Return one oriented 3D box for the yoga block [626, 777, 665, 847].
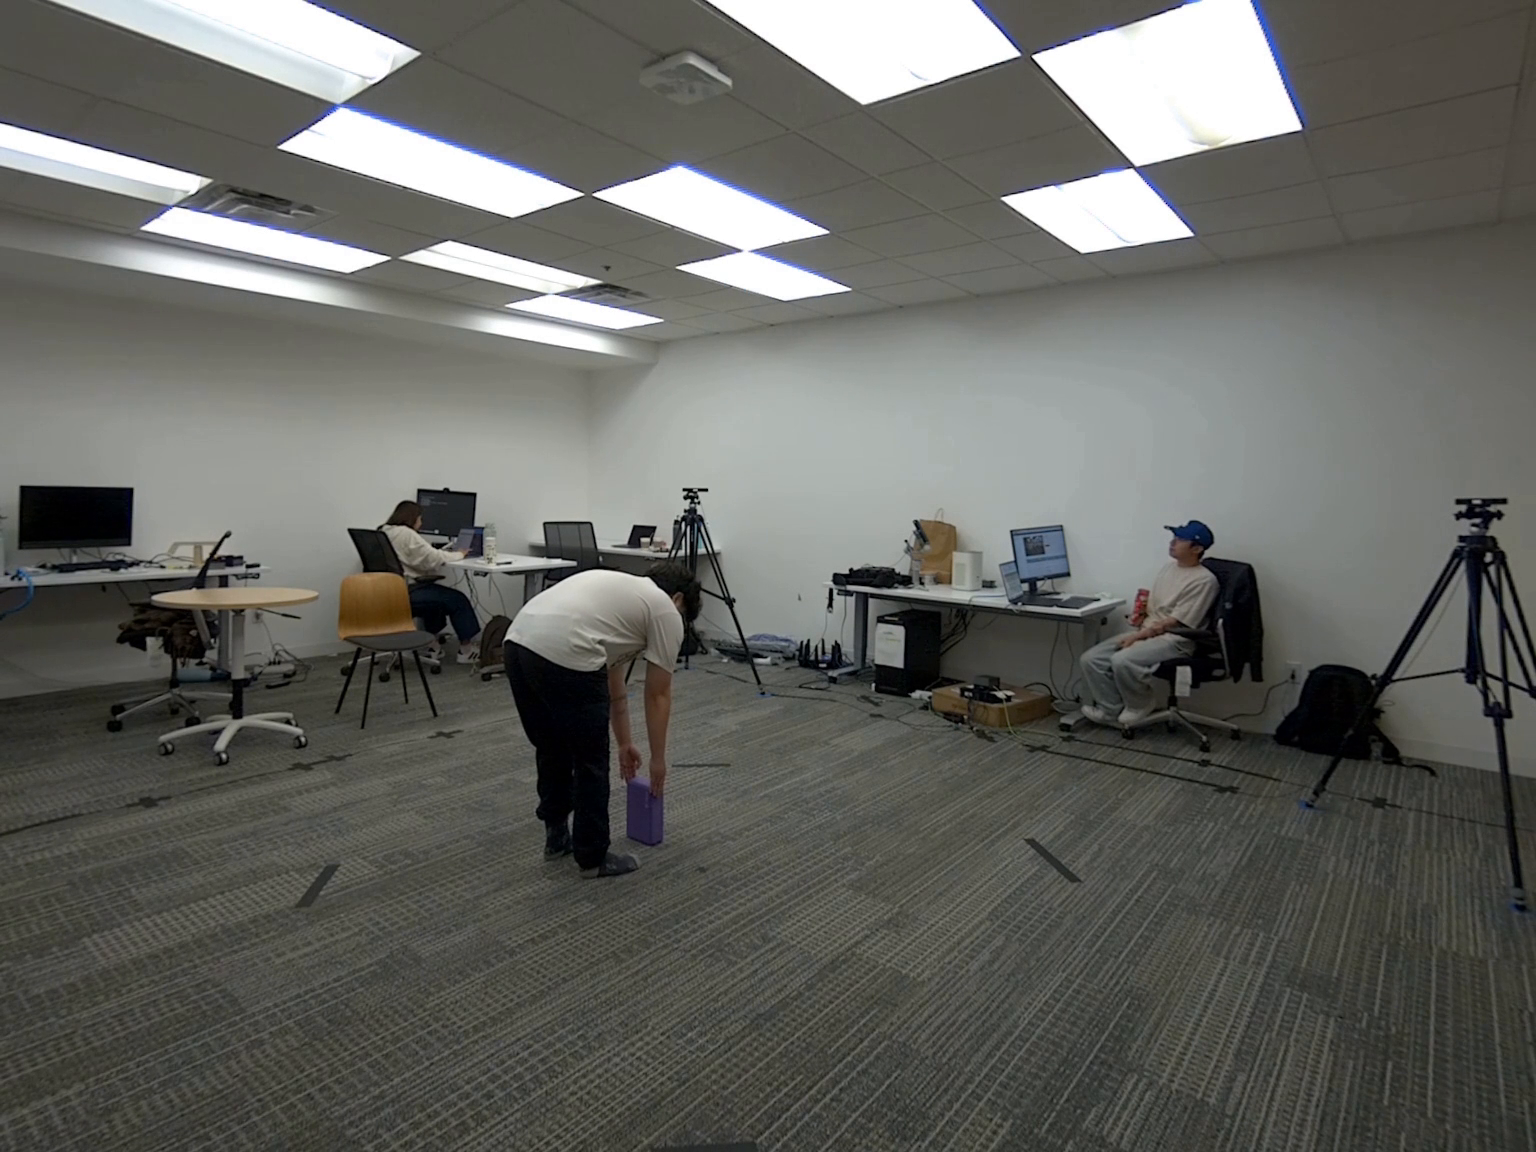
[{"bbox_3d":[-0.503,0.929,3.369,0.154,0.228,0.074,2,5,40],"label":"yoga block"}]
